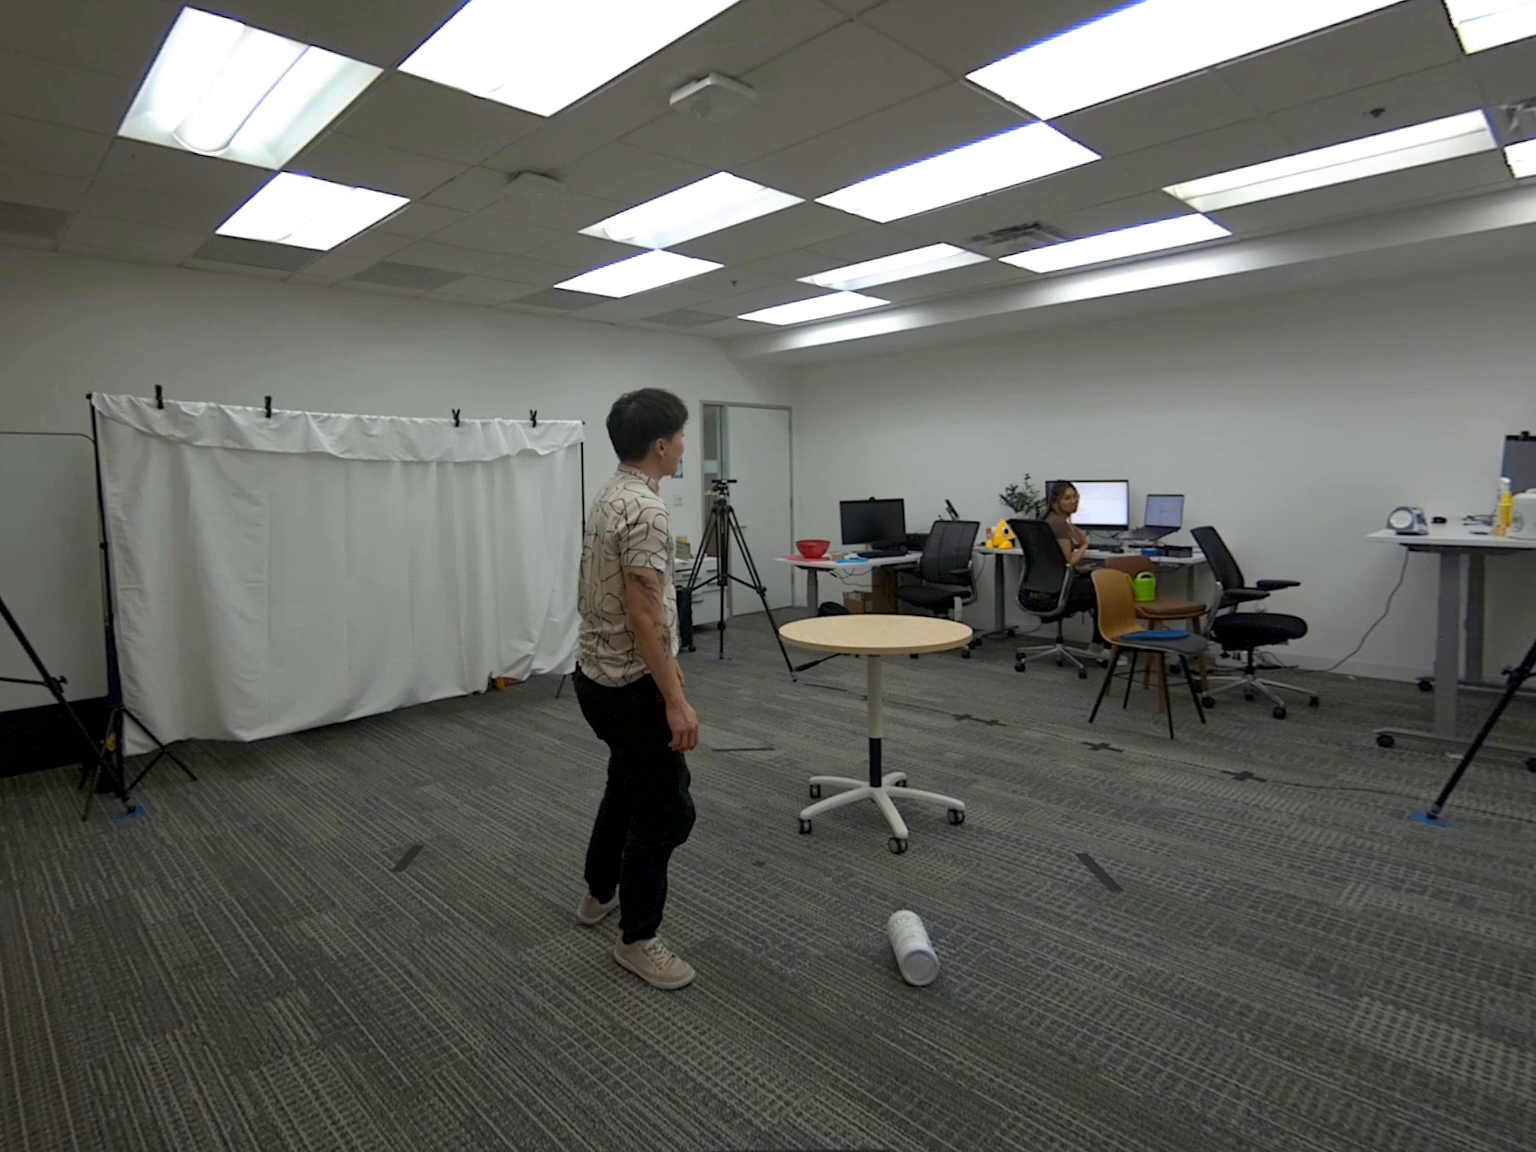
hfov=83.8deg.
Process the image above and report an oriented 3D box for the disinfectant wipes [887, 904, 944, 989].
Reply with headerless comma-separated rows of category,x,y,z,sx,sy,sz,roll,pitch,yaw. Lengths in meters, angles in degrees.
disinfectant wipes,0.416,1.051,2.444,0.118,0.117,0.218,-1,8,0
